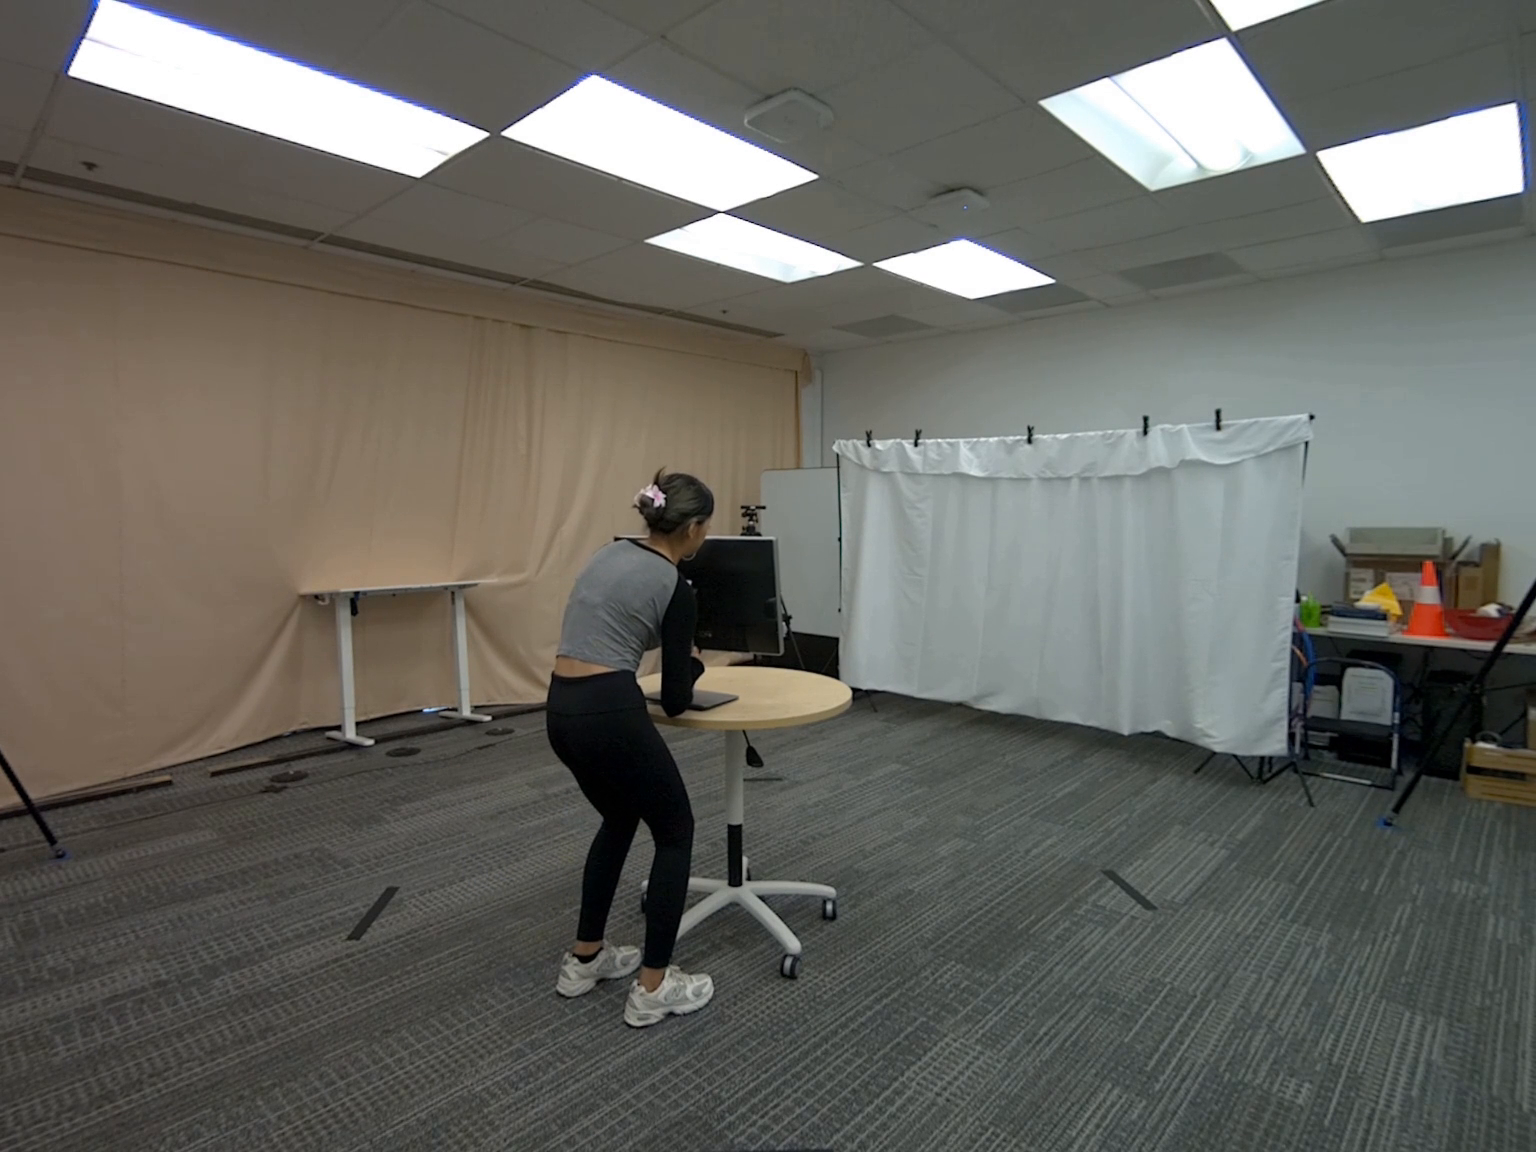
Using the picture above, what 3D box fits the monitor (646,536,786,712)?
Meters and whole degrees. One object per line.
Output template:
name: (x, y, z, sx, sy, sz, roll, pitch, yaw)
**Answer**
monitor: (-0.236, 0.135, 2.602, 0.553, 0.522, 0.182, 2, 0, 24)
